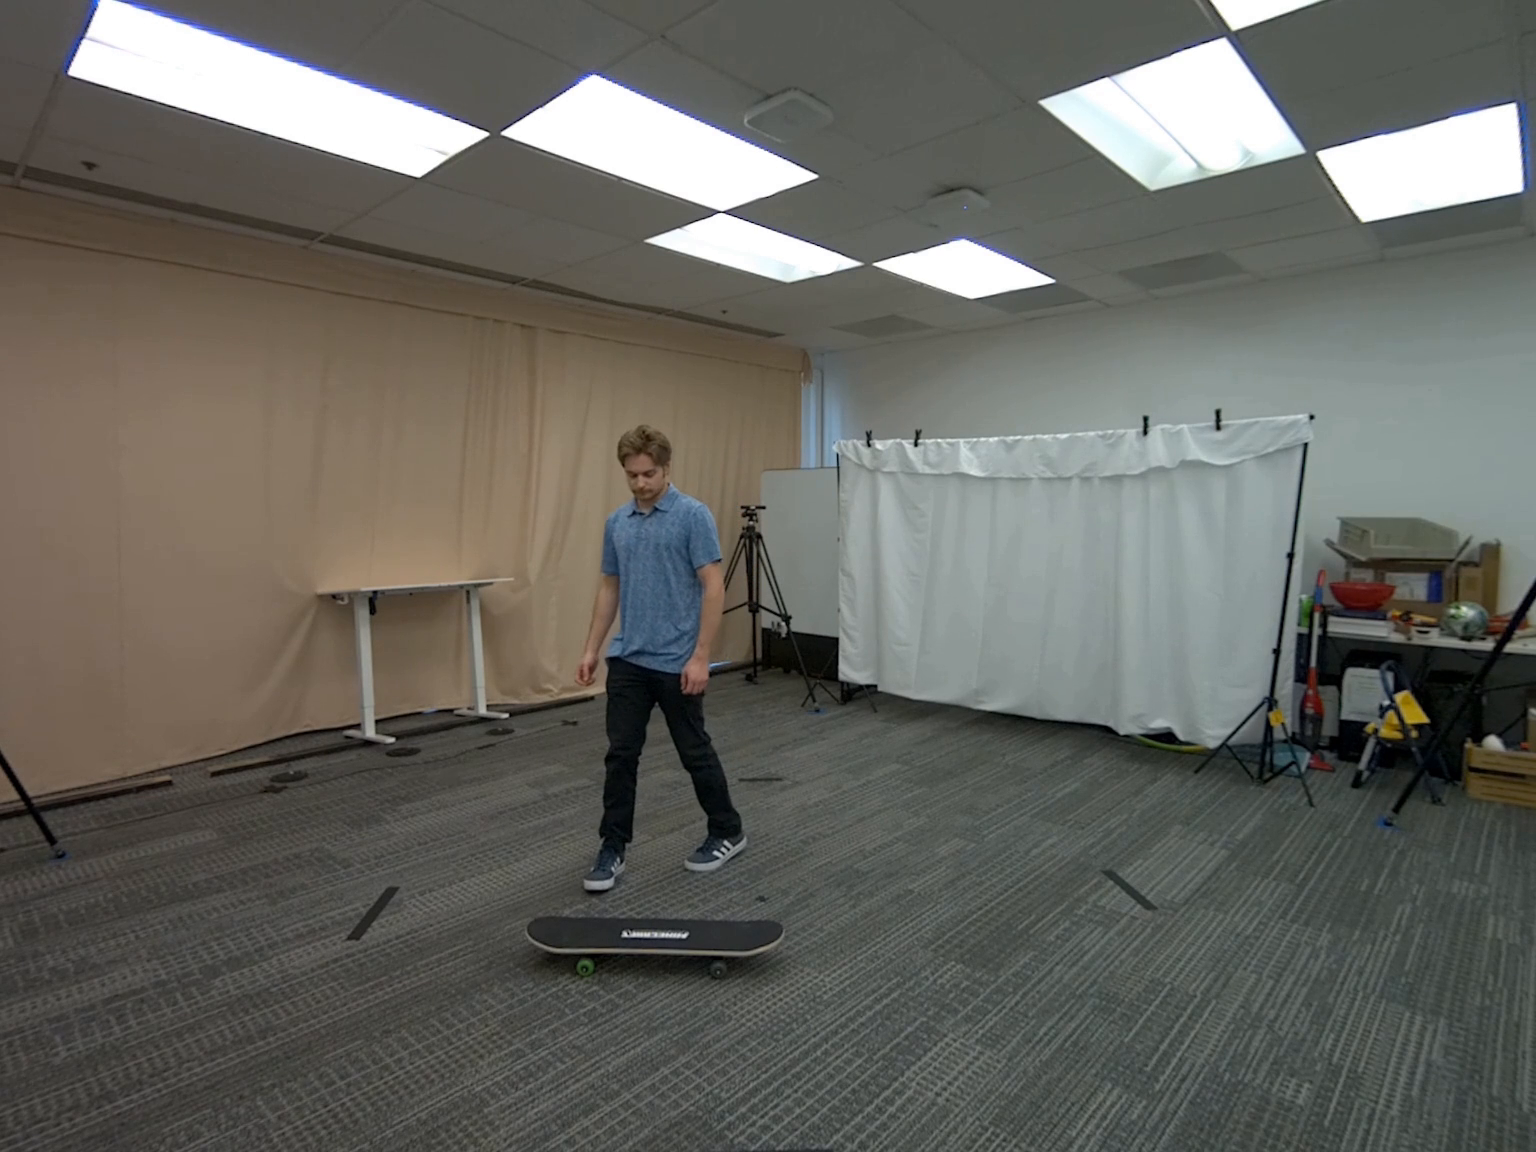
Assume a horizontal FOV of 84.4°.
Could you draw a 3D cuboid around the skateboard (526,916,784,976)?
[{"bbox_3d":[-0.344,1.125,2.566,0.787,0.110,0.193,-1,4,2],"label":"skateboard"}]
